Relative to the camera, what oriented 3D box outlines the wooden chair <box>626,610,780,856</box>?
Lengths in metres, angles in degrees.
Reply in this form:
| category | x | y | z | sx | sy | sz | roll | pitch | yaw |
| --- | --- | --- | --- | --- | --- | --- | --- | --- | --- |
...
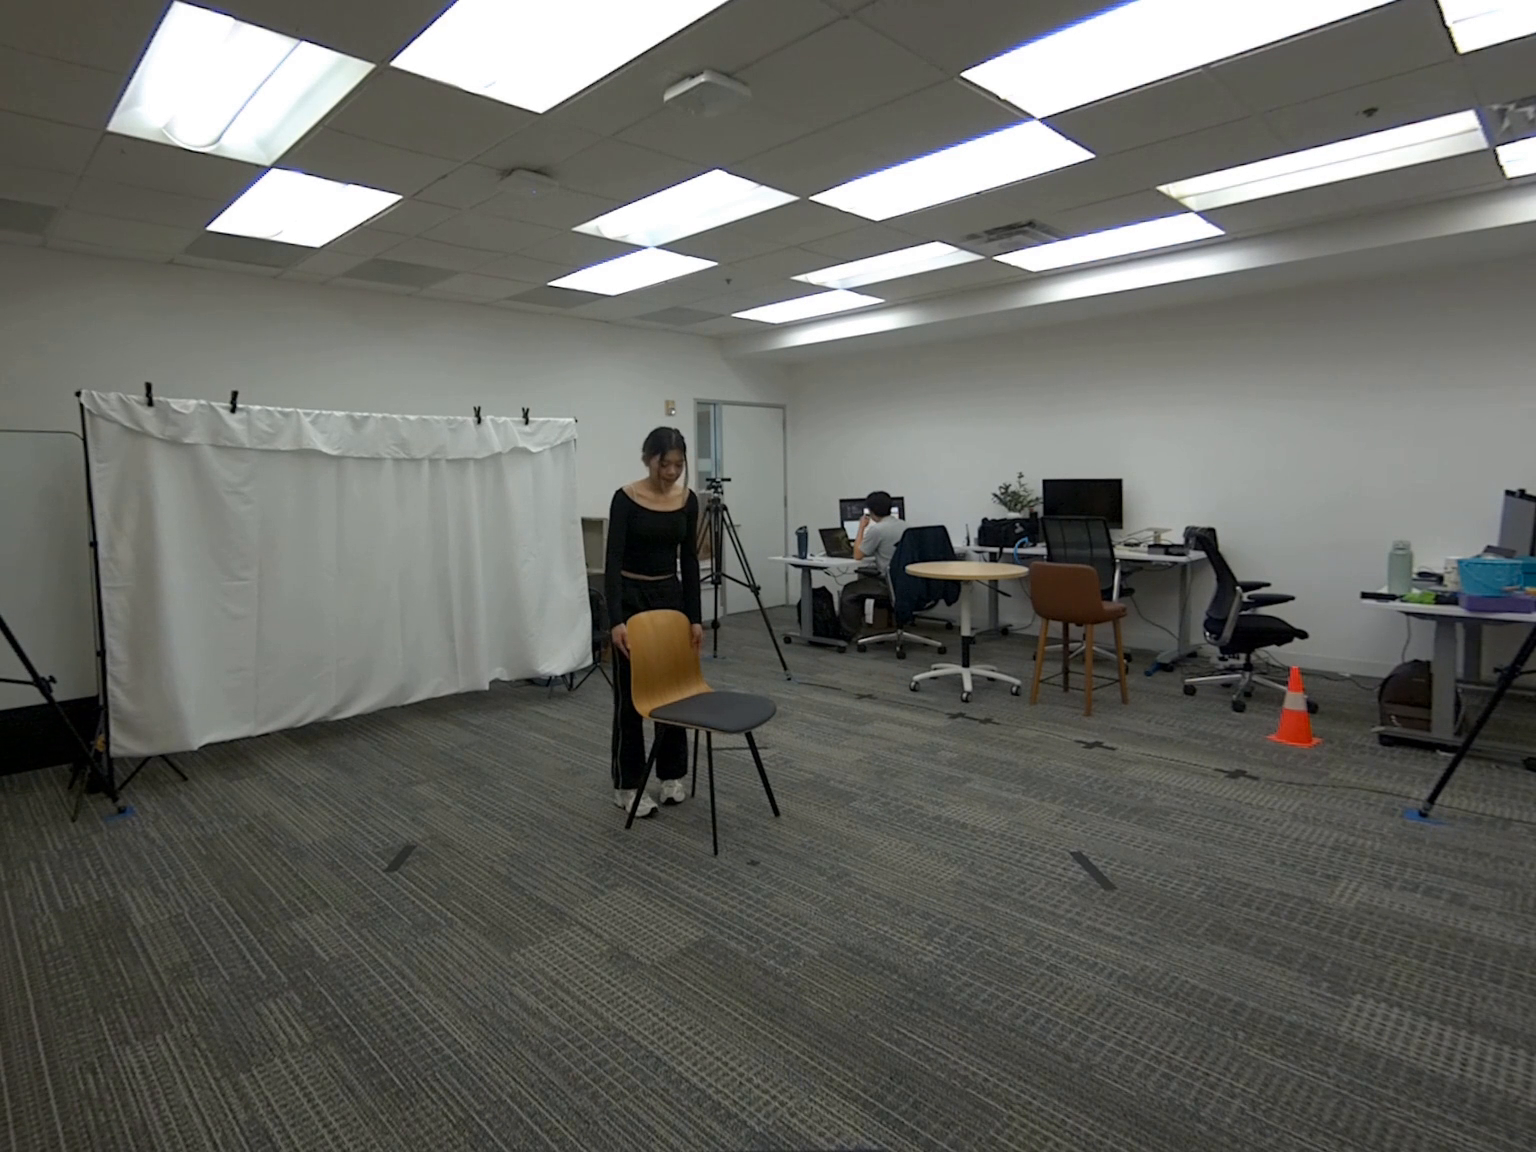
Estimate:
| category | x | y | z | sx | sy | sz | roll | pitch | yaw |
| --- | --- | --- | --- | --- | --- | --- | --- | --- | --- |
| wooden chair | -0.259 | 0.580 | 3.435 | 0.536 | 0.877 | 0.466 | -4 | 1 | 35 |
